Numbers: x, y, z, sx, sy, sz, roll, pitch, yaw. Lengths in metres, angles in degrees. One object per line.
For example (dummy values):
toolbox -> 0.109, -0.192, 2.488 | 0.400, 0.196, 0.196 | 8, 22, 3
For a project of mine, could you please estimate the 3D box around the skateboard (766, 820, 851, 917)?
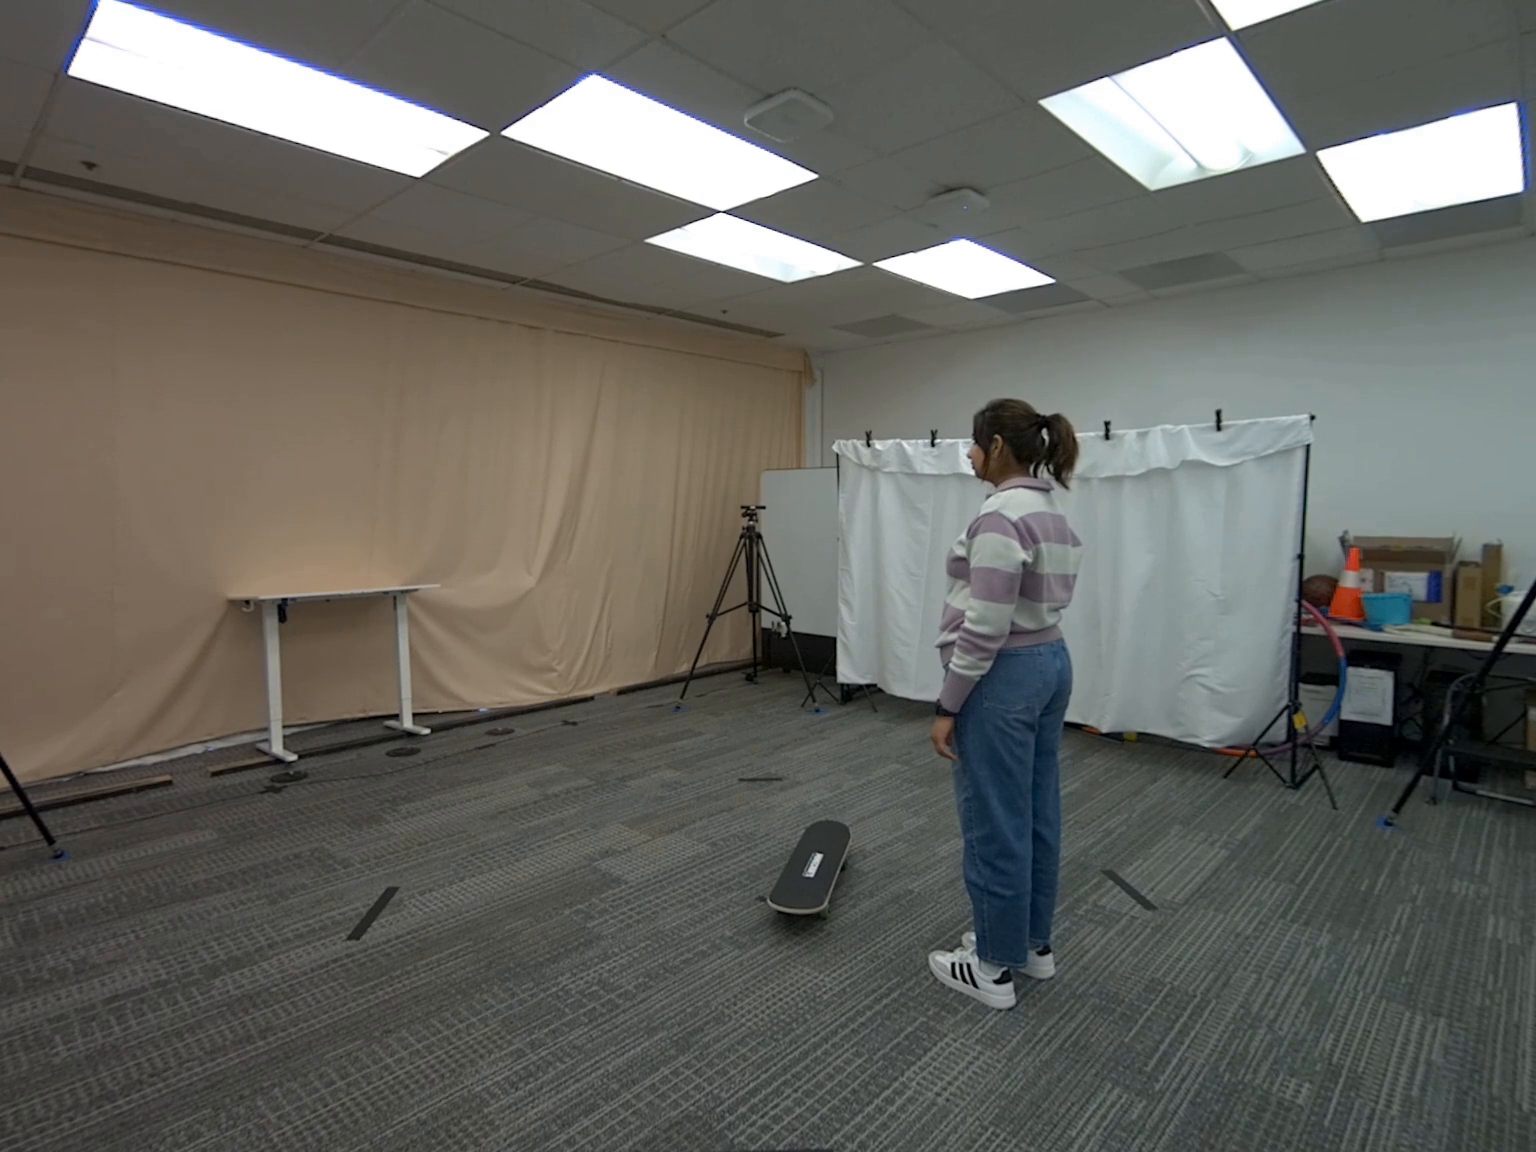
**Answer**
skateboard -> 0.170, 1.080, 3.053 | 0.197, 0.110, 0.774 | 1, 5, 14
